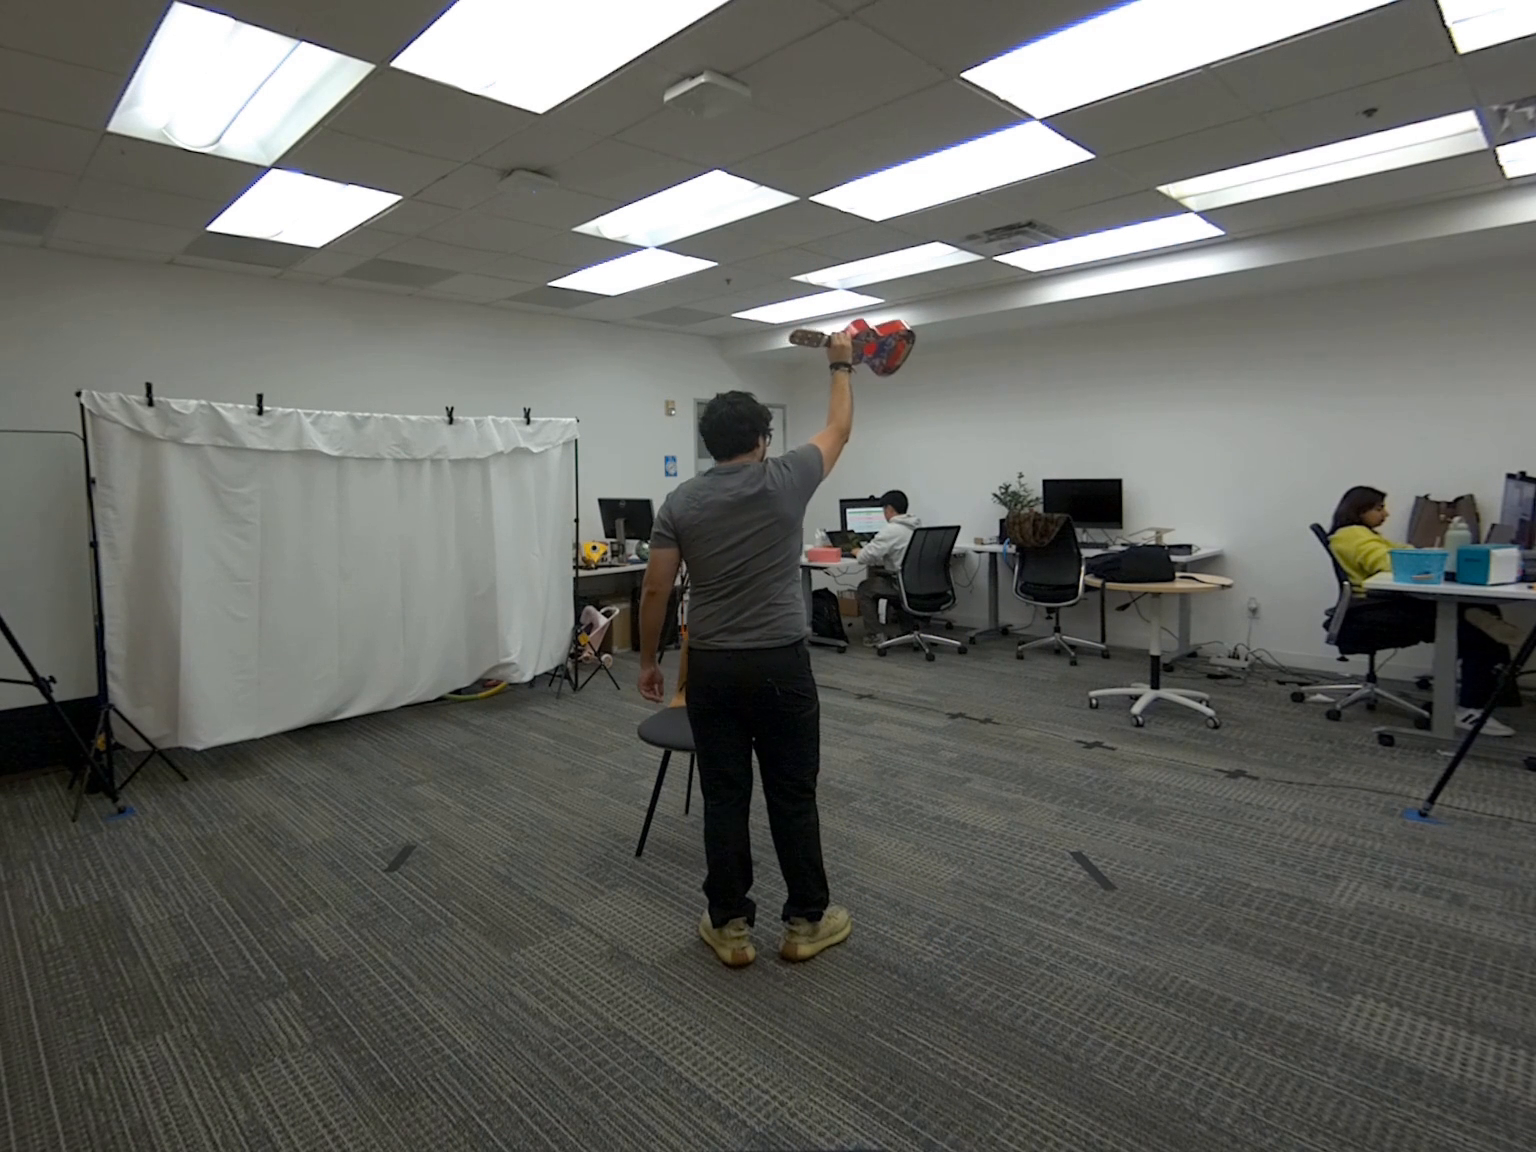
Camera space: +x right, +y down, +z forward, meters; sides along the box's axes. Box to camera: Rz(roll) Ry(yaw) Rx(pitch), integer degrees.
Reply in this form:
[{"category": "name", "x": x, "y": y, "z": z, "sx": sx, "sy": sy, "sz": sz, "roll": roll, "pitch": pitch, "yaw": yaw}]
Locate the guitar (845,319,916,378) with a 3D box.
[{"category": "guitar", "x": 0.292, "y": -0.785, "z": 2.826, "sx": 0.482, "sy": 0.192, "sz": 0.073, "roll": 9, "pitch": 40, "yaw": -37}]
